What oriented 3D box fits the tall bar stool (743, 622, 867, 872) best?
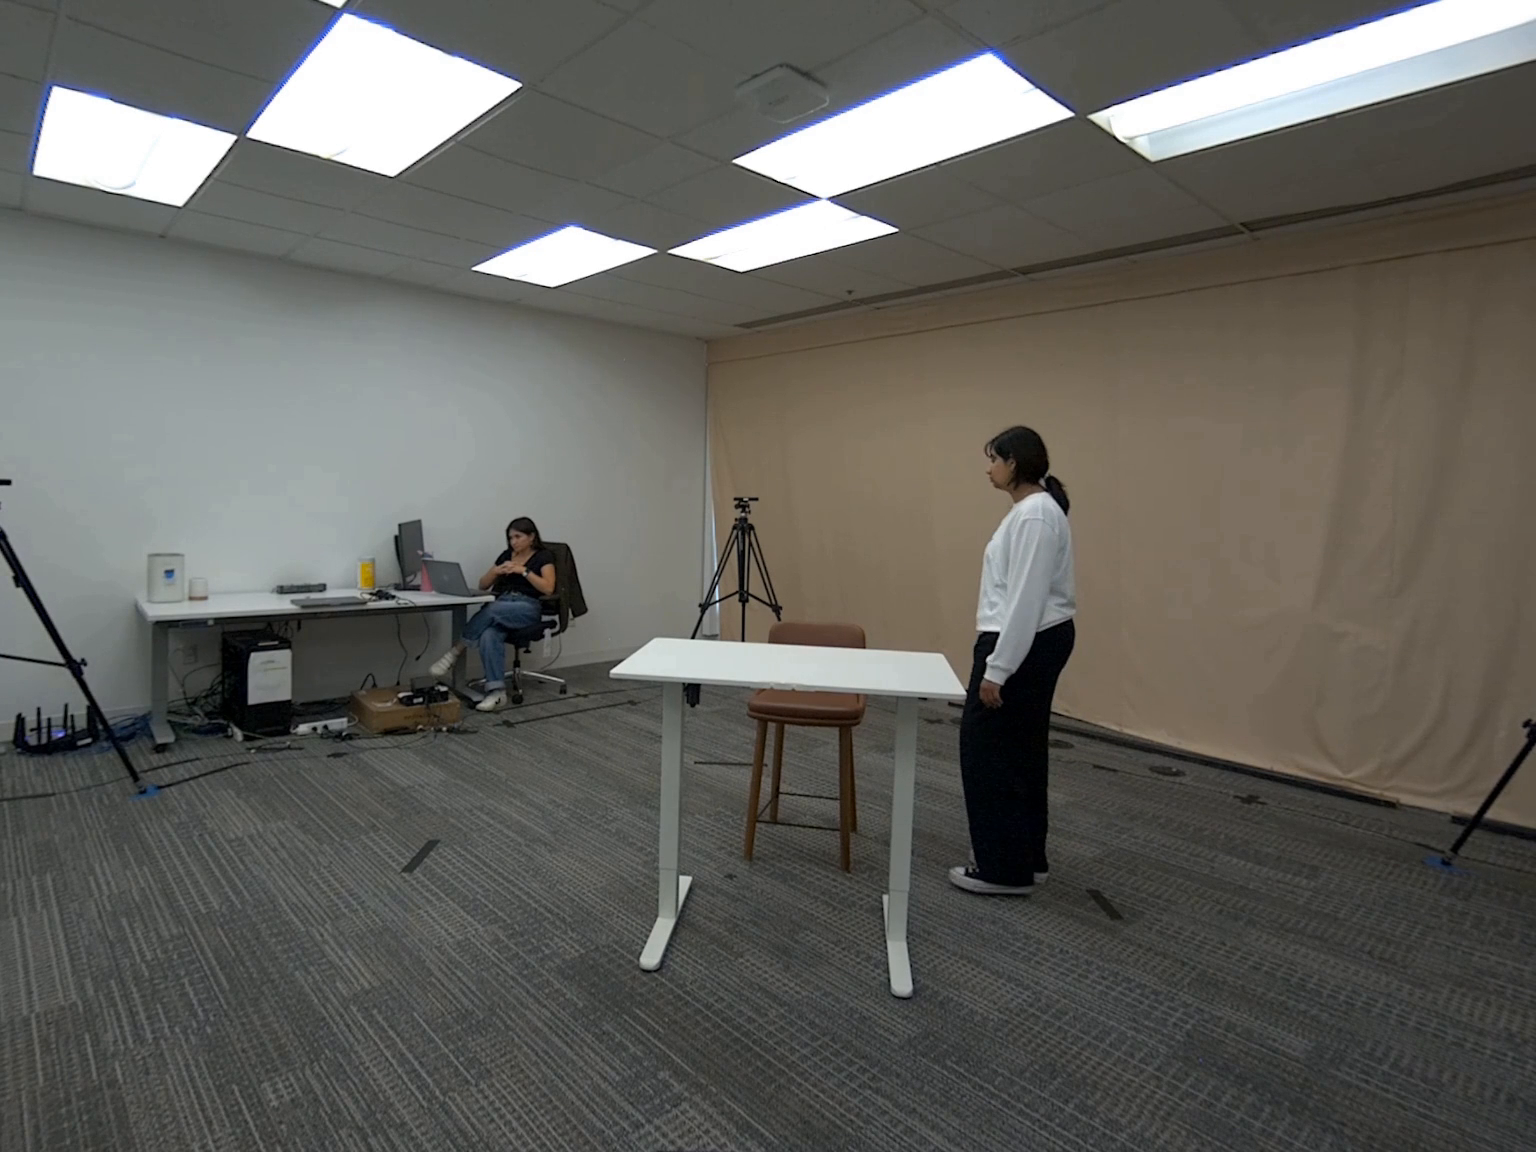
[{"bbox_3d":[0.158,0.654,3.403,0.462,0.889,0.462,3,1,15],"label":"tall bar stool"}]
